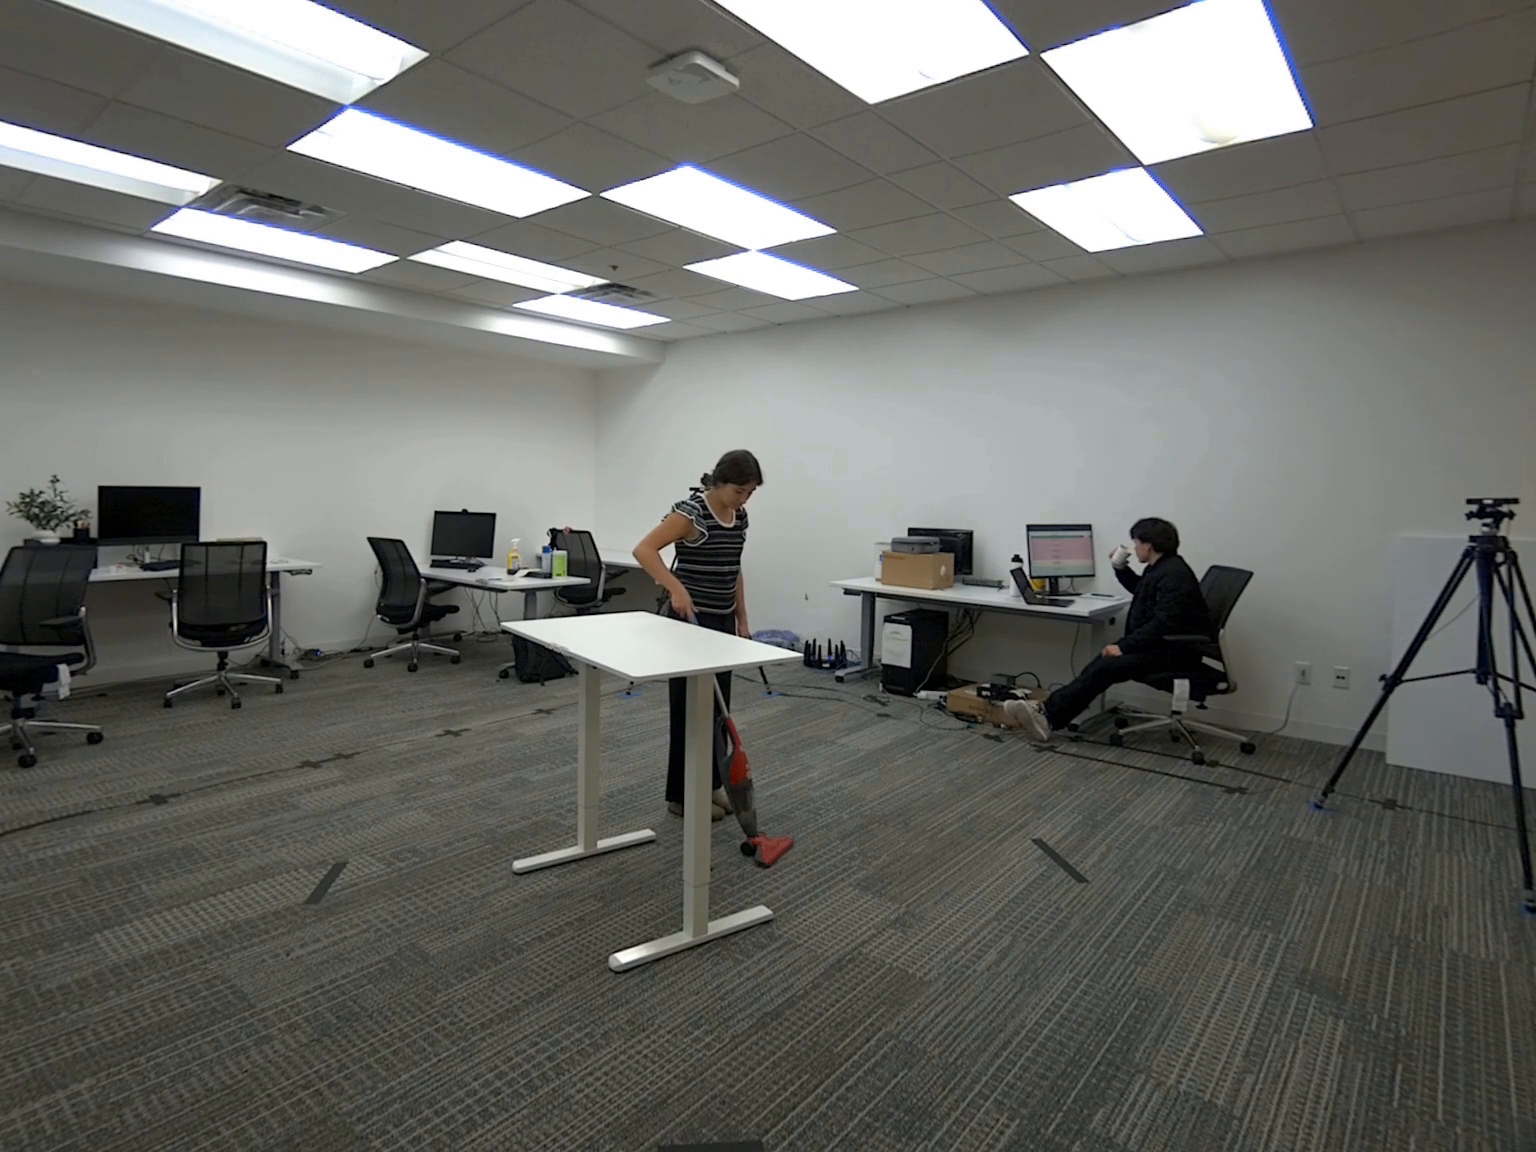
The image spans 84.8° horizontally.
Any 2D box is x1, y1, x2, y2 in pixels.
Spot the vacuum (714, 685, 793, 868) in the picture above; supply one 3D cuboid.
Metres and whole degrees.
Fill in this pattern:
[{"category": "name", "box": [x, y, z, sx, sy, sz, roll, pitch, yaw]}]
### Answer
[{"category": "vacuum", "box": [-0.185, 0.571, 3.339, 0.146, 1.061, 0.246, -23, -9, 28]}]
